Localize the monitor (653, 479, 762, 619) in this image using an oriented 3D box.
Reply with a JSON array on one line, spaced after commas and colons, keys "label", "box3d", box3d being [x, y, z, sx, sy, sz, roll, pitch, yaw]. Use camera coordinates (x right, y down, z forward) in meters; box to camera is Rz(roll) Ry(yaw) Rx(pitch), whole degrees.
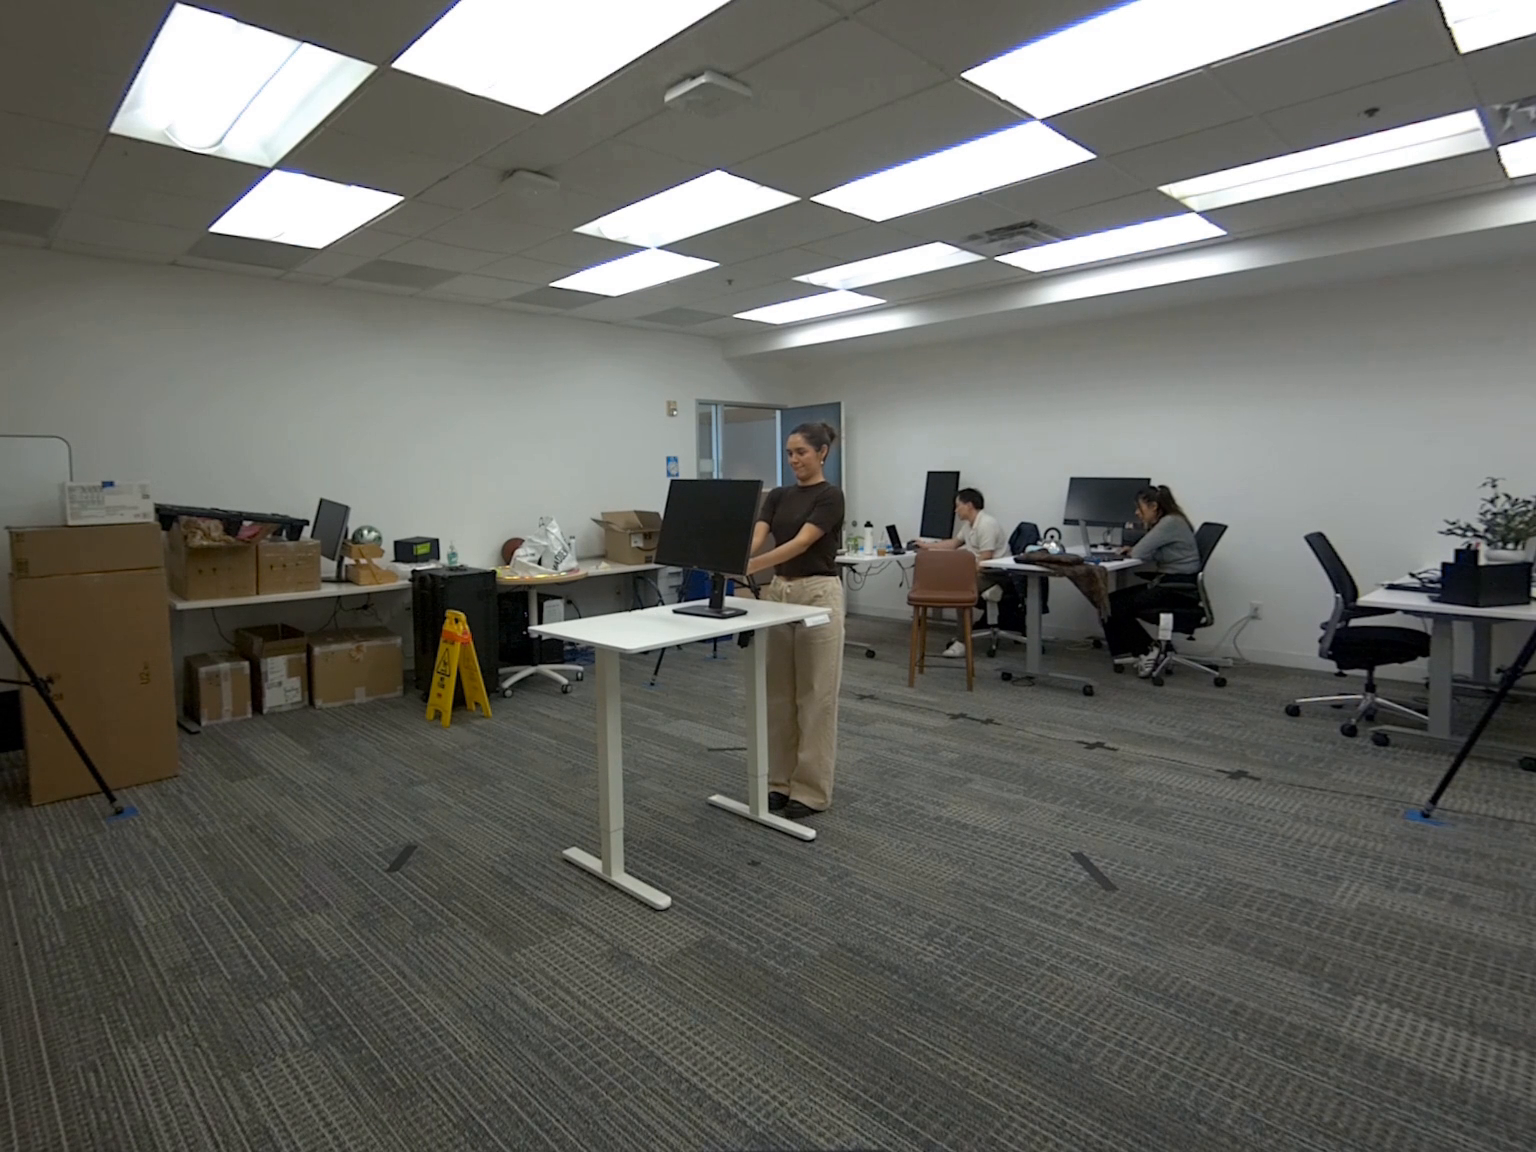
[{"label": "monitor", "box3d": [-0.218, -0.109, 3.276, 0.182, 0.521, 0.556, -3, 5, -43]}]
